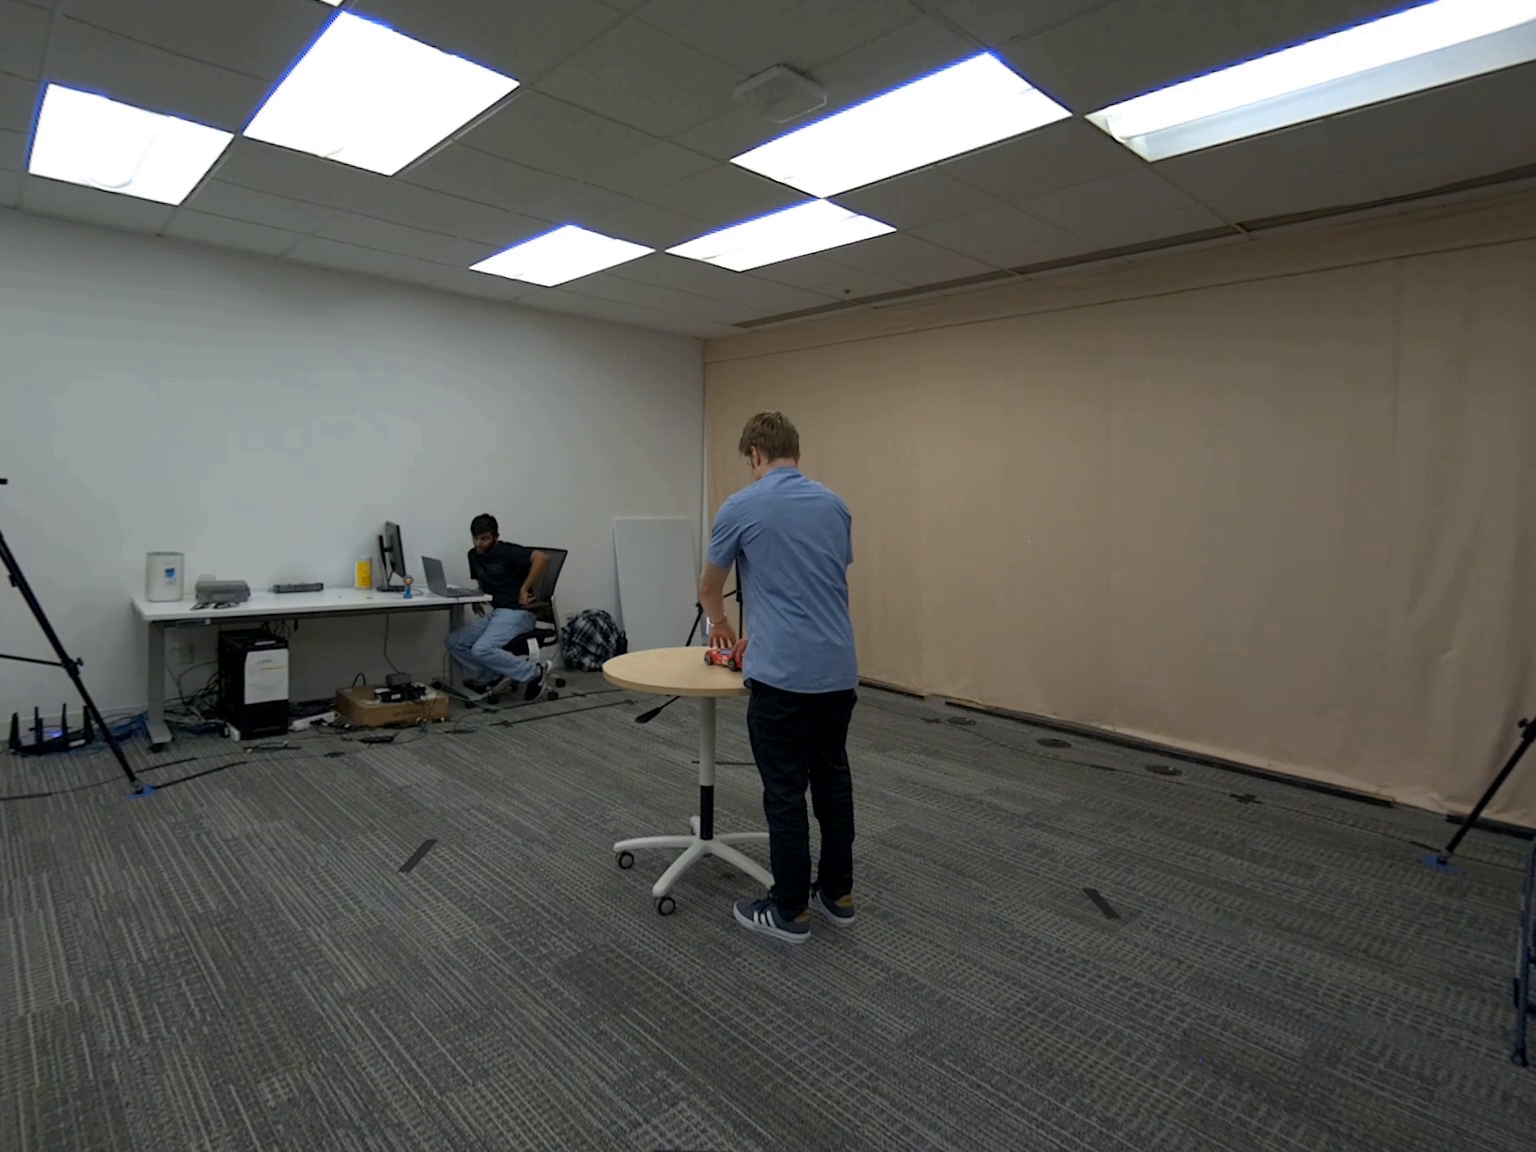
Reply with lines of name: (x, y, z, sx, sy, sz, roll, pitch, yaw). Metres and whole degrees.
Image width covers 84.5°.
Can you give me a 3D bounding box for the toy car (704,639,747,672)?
toy car: (-0.126, 0.302, 3.022, 0.127, 0.083, 0.259, -4, -4, -39)
